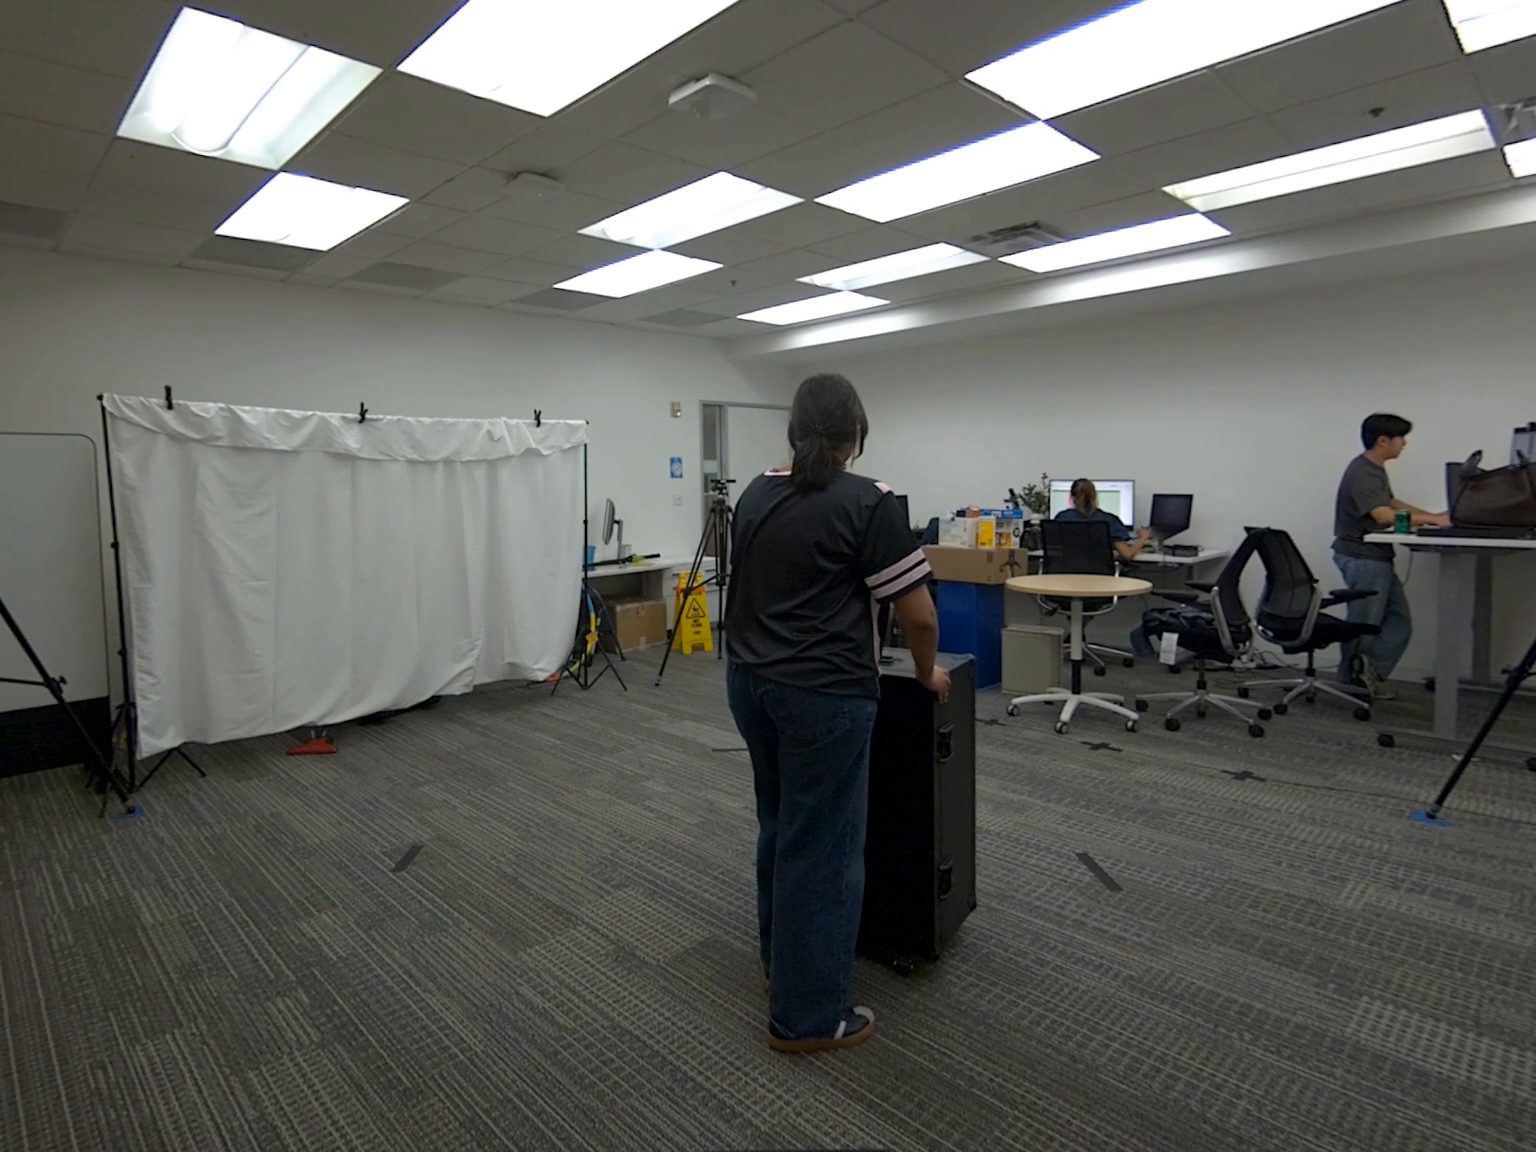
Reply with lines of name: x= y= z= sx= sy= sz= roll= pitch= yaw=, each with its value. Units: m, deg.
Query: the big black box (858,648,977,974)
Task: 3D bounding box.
big black box: x=0.342 y=0.678 z=2.607 sx=0.538 sy=0.866 sz=0.376 roll=2 pitch=4 yaw=32
